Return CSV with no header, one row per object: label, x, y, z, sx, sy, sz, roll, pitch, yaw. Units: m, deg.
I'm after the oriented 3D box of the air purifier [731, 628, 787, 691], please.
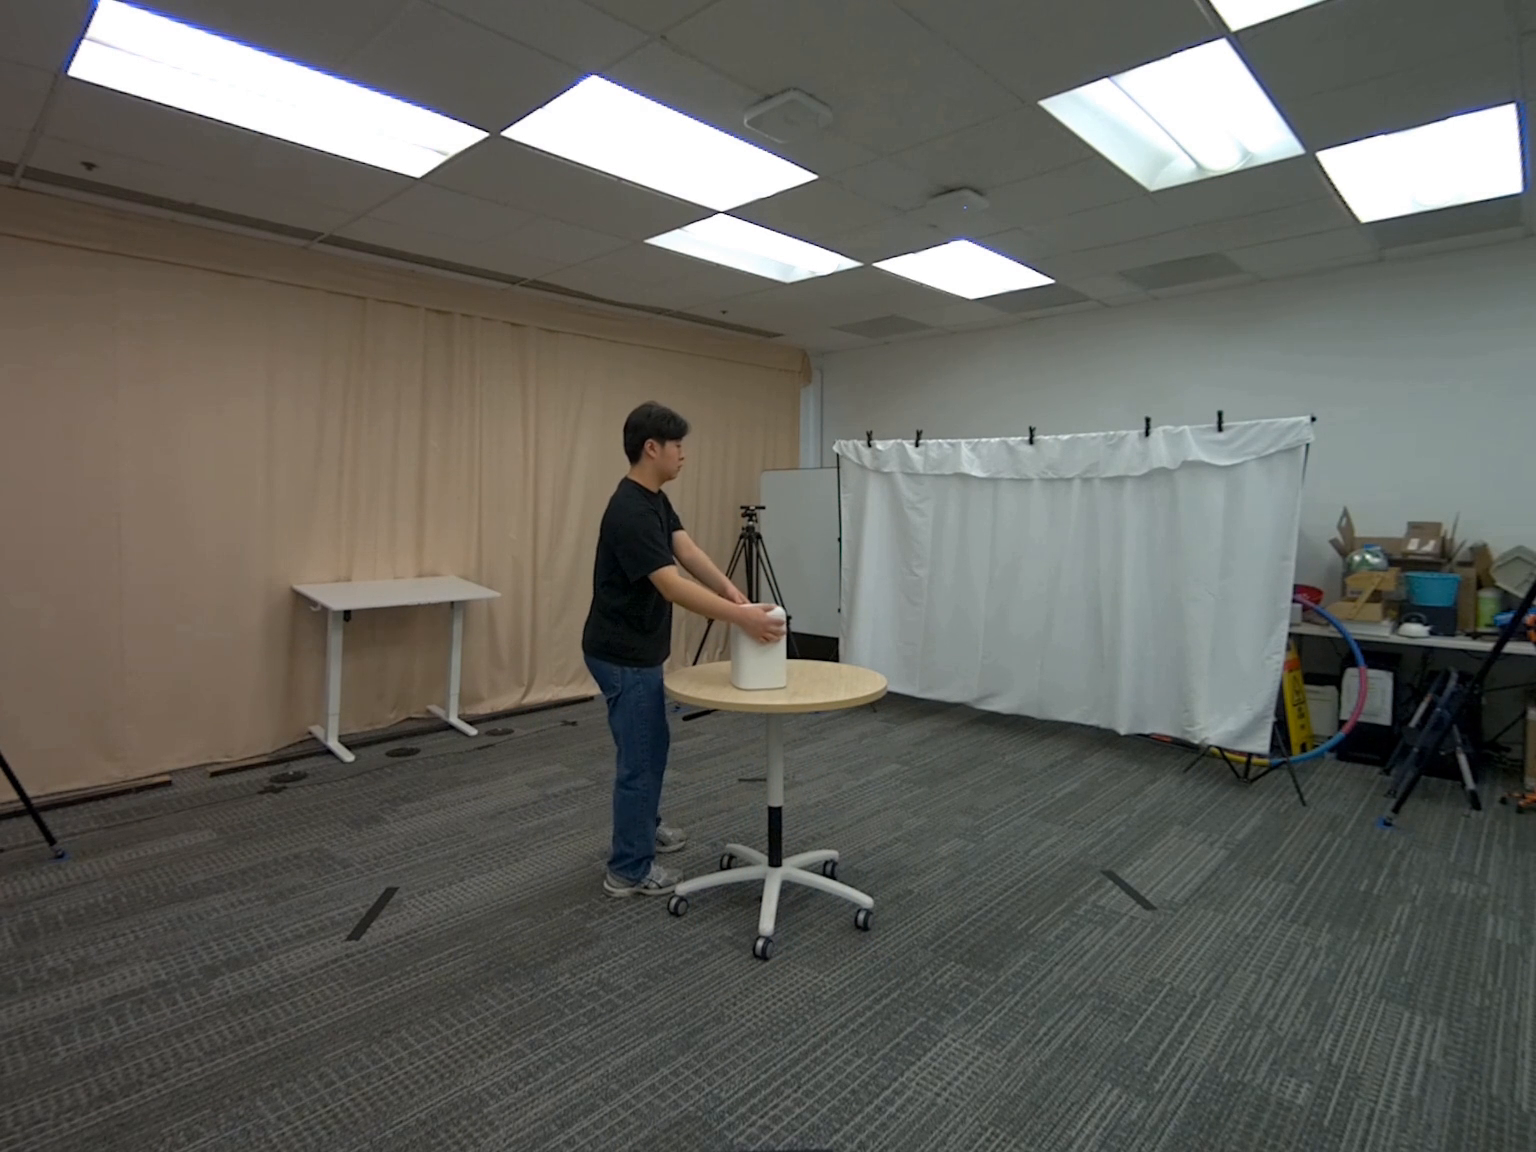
air purifier,-0.027,0.232,2.799,0.170,0.265,0.173,-1,3,-8
